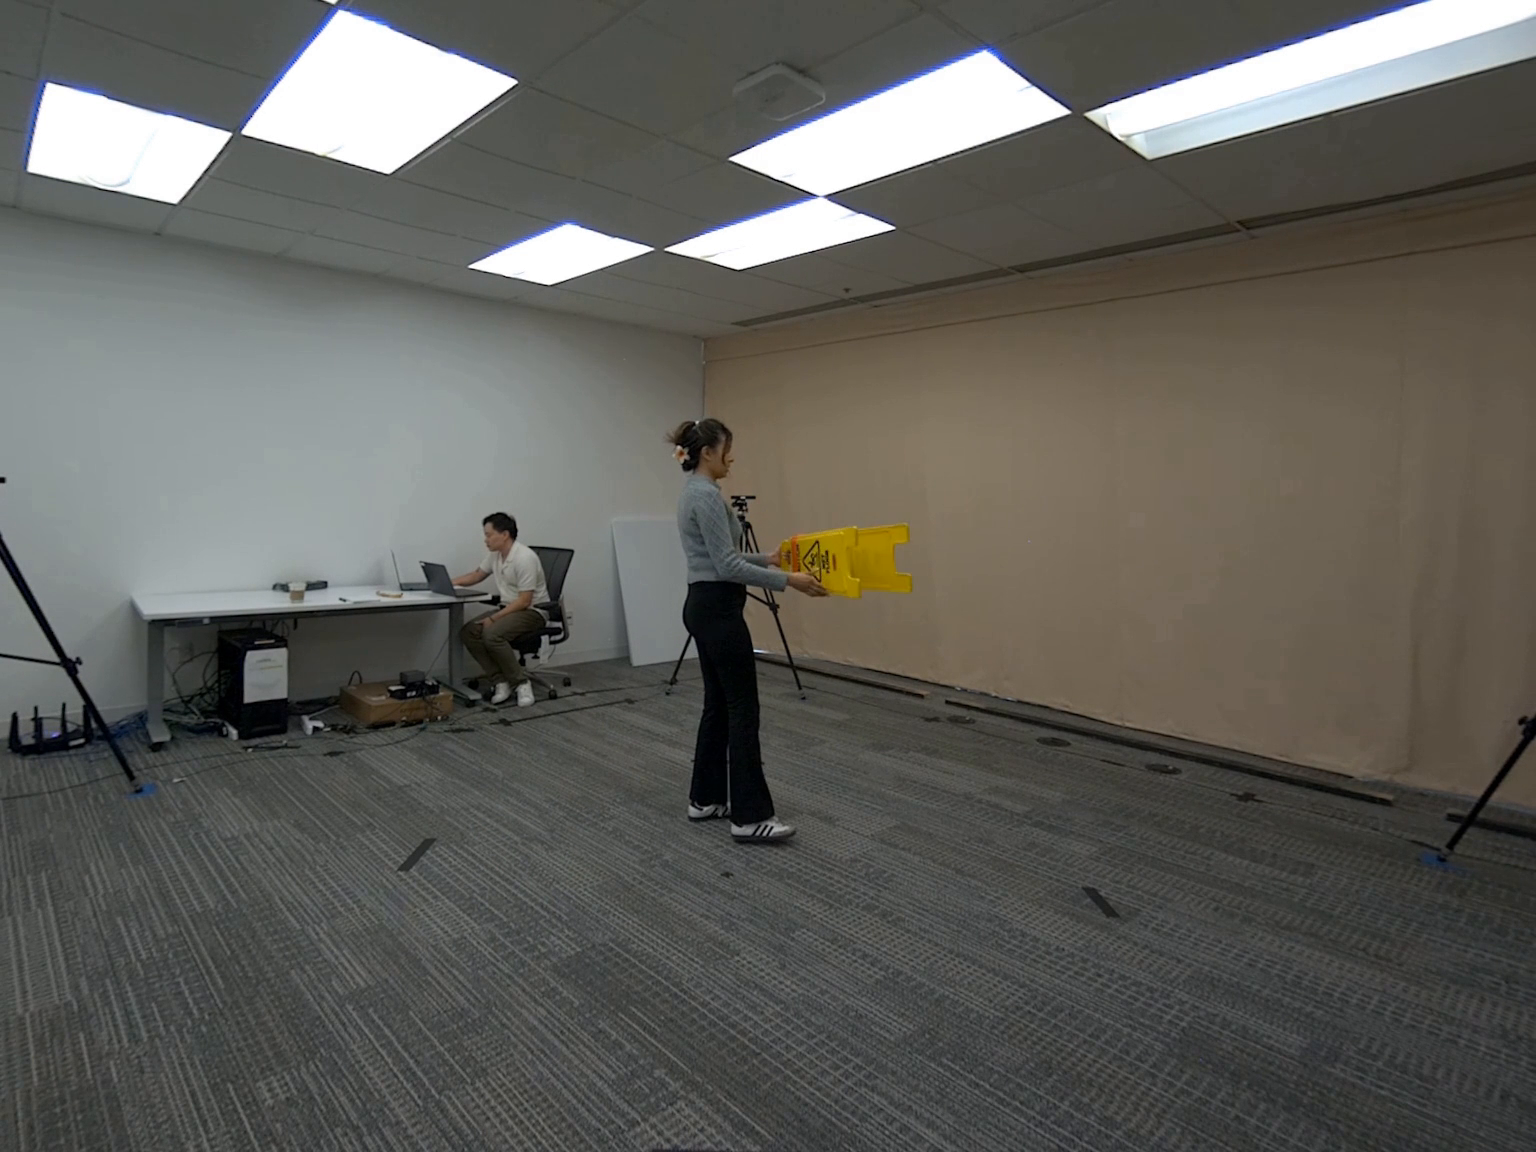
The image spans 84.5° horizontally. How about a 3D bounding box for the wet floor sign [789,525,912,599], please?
[{"bbox_3d":[0.258,-0.060,3.585,0.283,0.282,0.660,-4,2,-36],"label":"wet floor sign"}]
